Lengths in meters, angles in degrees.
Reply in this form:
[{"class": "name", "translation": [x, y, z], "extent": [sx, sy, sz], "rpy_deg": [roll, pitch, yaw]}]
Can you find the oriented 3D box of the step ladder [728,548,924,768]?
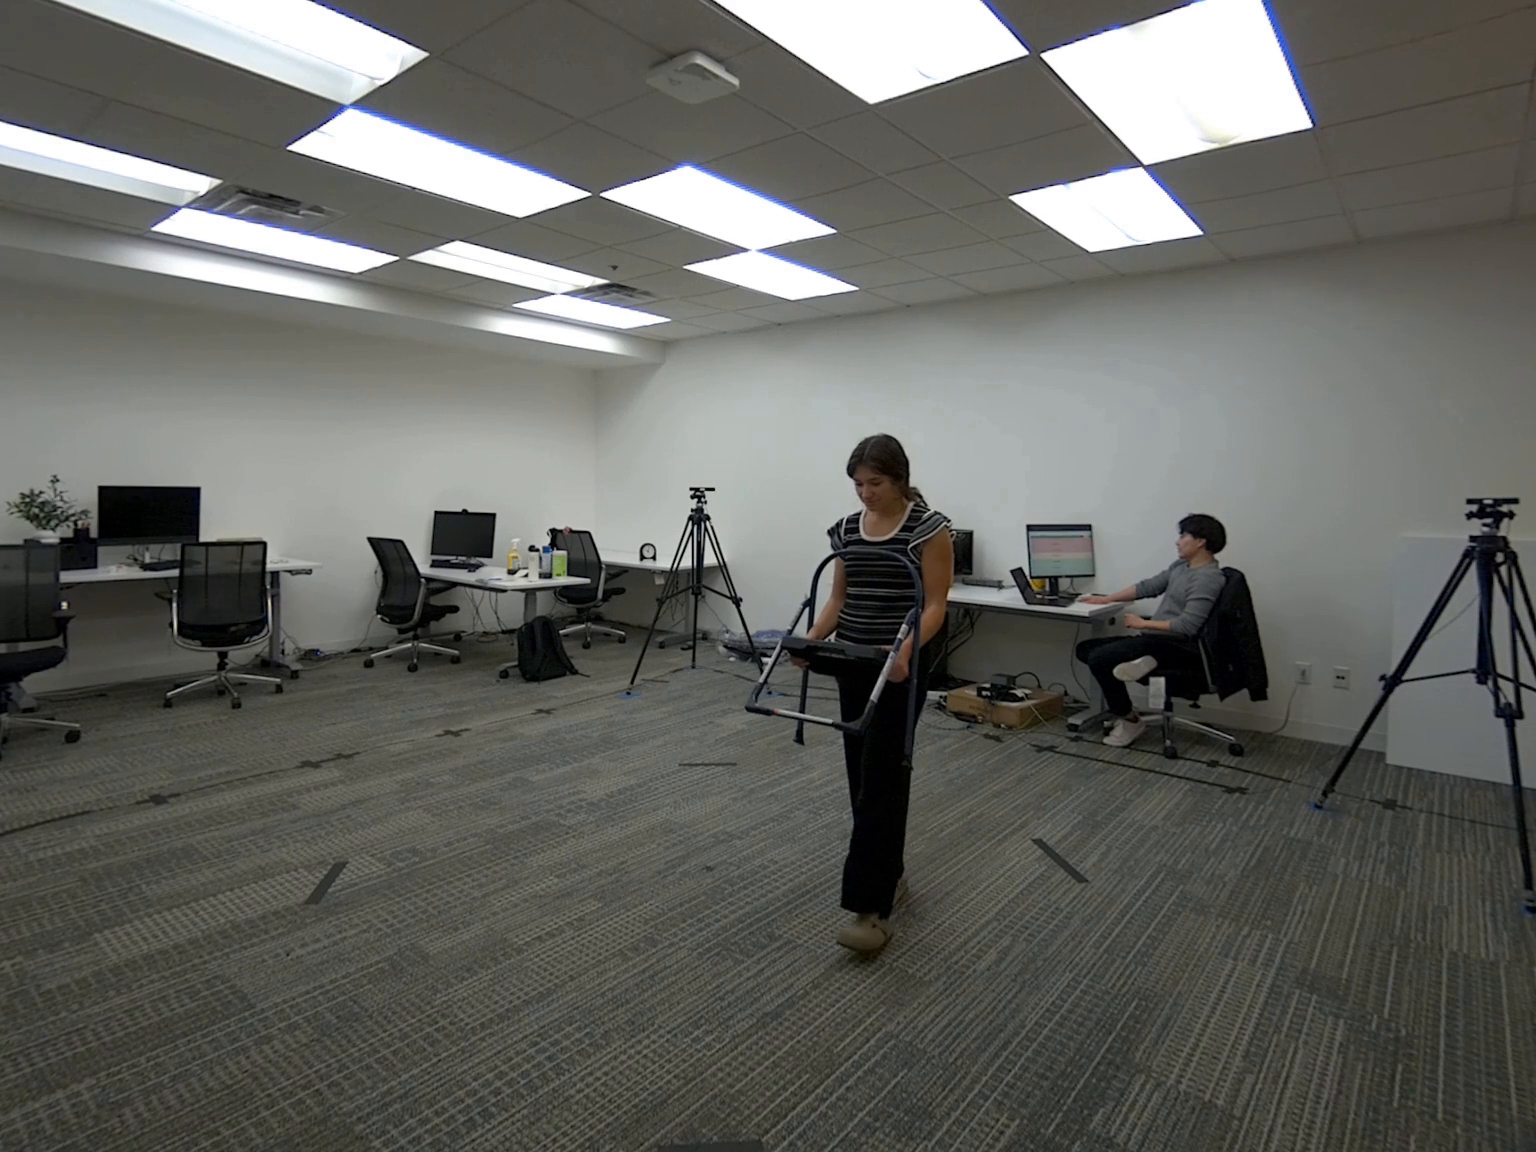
[{"class": "step ladder", "translation": [0.255, 0.220, 2.673], "extent": [0.444, 0.613, 0.334], "rpy_deg": [2, -25, 38]}]
